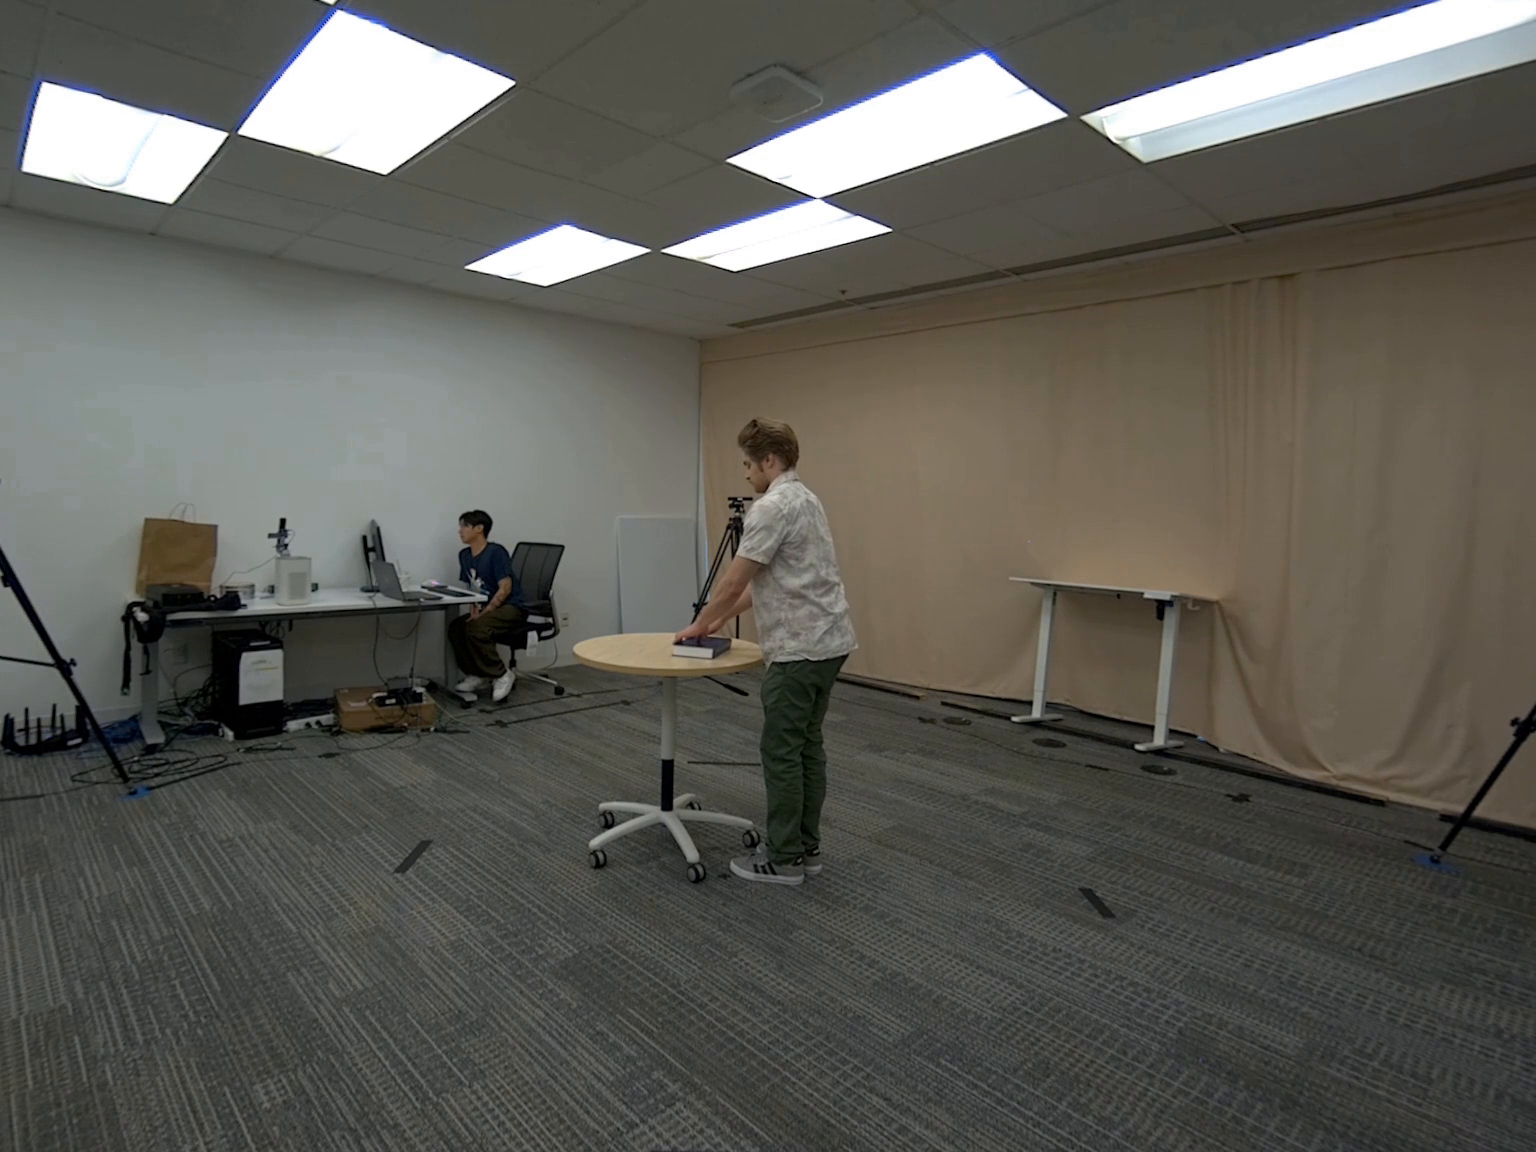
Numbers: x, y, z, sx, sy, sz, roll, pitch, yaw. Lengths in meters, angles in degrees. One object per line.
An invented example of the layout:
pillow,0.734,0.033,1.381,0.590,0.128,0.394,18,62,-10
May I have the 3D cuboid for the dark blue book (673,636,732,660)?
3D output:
dark blue book,-0.258,0.279,3.293,0.165,0.045,0.243,3,7,14
